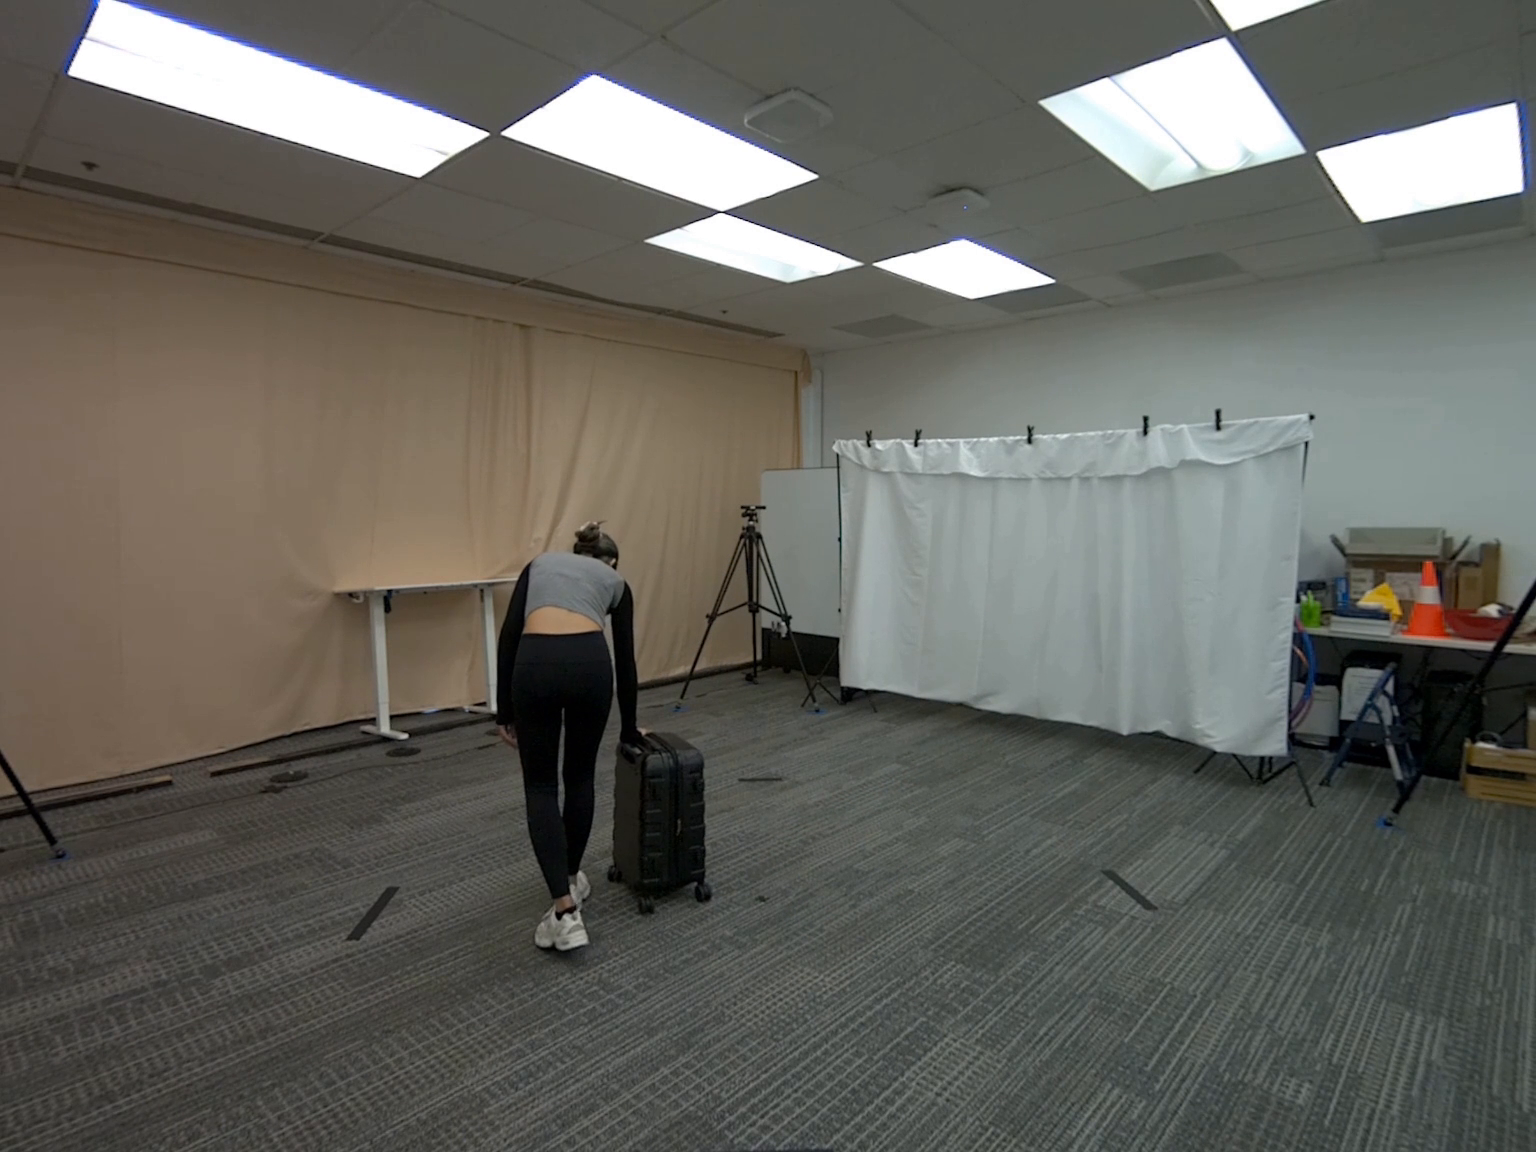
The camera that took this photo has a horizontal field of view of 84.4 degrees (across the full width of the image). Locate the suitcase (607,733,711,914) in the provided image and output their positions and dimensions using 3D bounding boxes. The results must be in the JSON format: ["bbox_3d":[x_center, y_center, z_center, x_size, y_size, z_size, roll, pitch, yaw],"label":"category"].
[{"bbox_3d":[-0.396,0.862,3.075,0.242,0.549,0.385,0,1,-28],"label":"suitcase"}]
